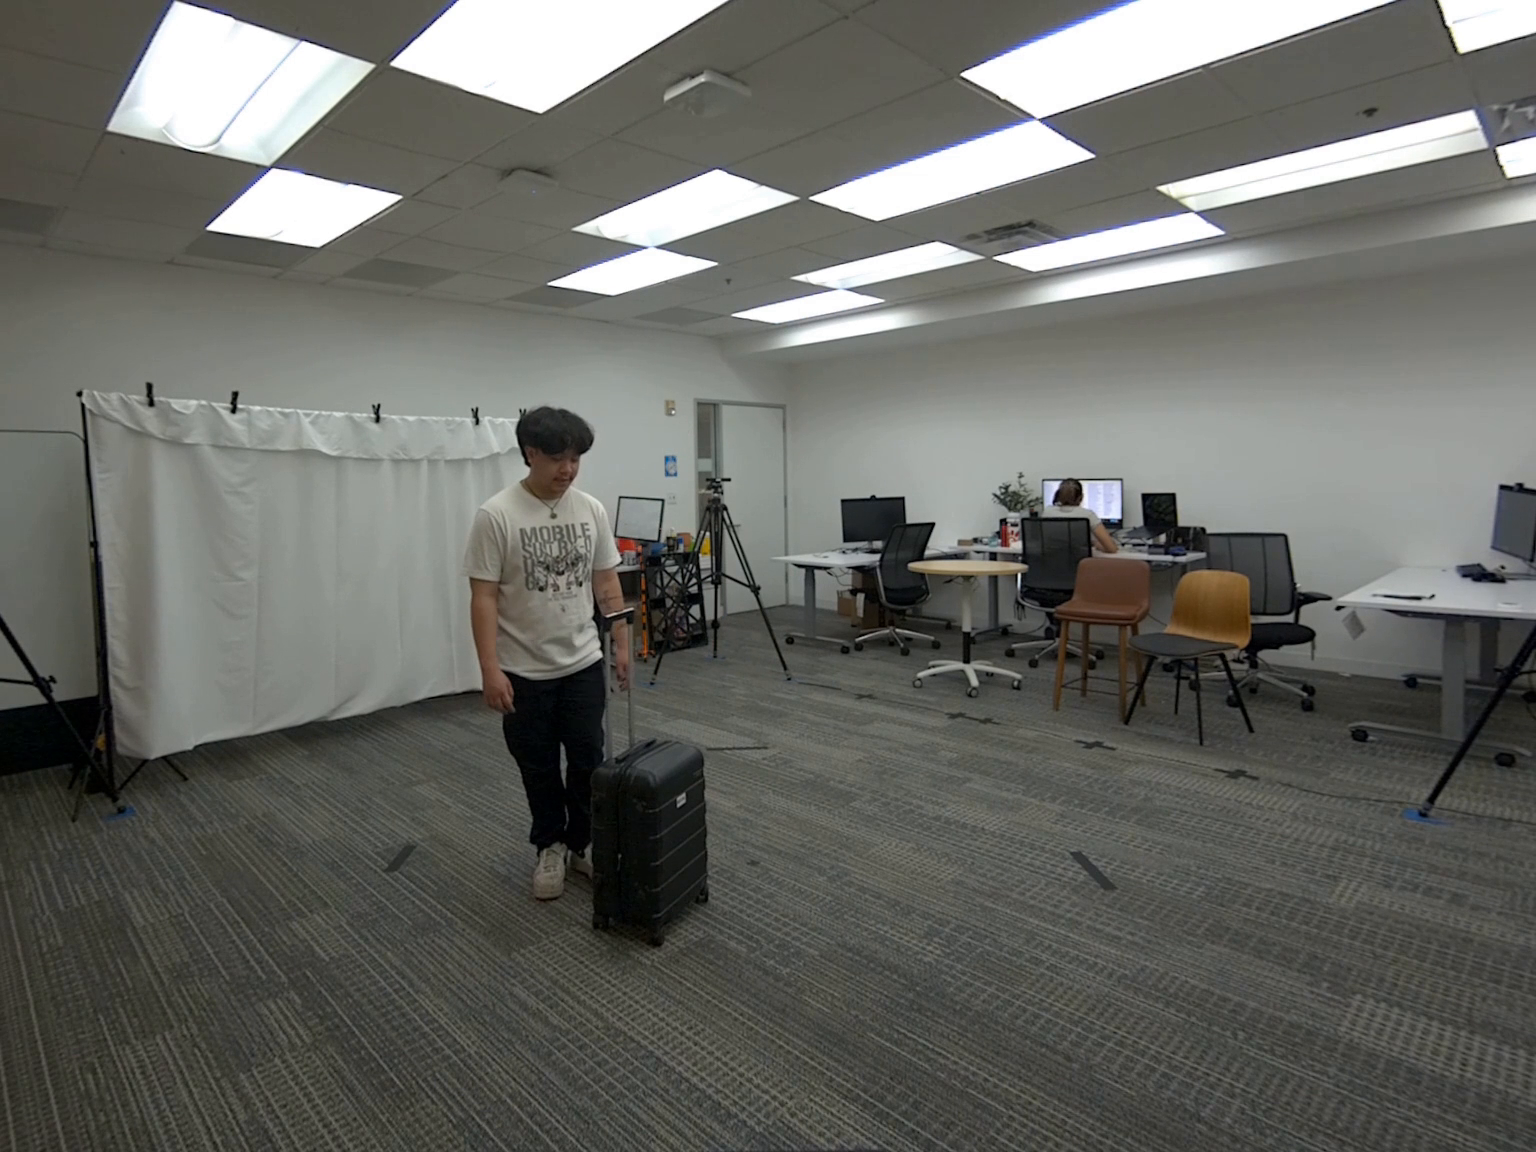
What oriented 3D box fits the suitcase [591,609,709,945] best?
[{"bbox_3d":[-0.364,0.616,2.693,0.263,0.972,0.377,5,8,24],"label":"suitcase"}]
